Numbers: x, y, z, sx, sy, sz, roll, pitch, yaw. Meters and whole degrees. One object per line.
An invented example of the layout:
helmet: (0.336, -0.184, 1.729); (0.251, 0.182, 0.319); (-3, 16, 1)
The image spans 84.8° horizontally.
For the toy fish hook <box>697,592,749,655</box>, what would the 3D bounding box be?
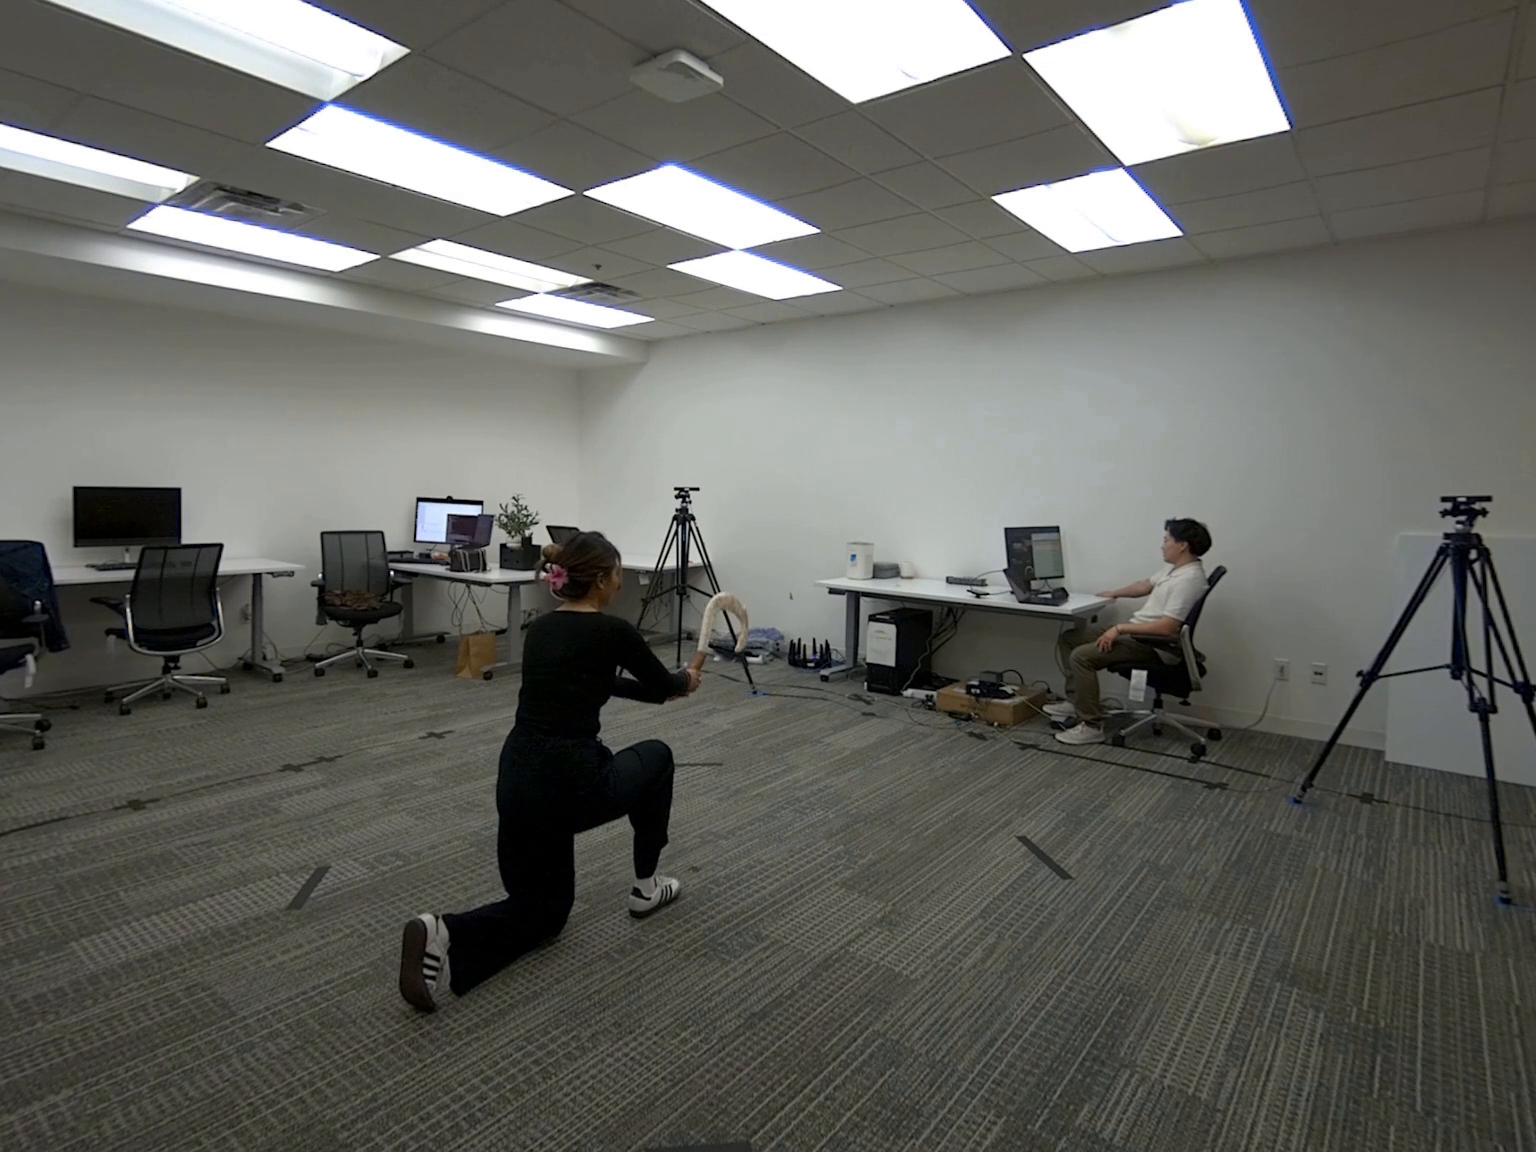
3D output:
toy fish hook: (-0.223, 0.294, 3.275); (0.219, 0.512, 0.049); (39, -38, -17)
